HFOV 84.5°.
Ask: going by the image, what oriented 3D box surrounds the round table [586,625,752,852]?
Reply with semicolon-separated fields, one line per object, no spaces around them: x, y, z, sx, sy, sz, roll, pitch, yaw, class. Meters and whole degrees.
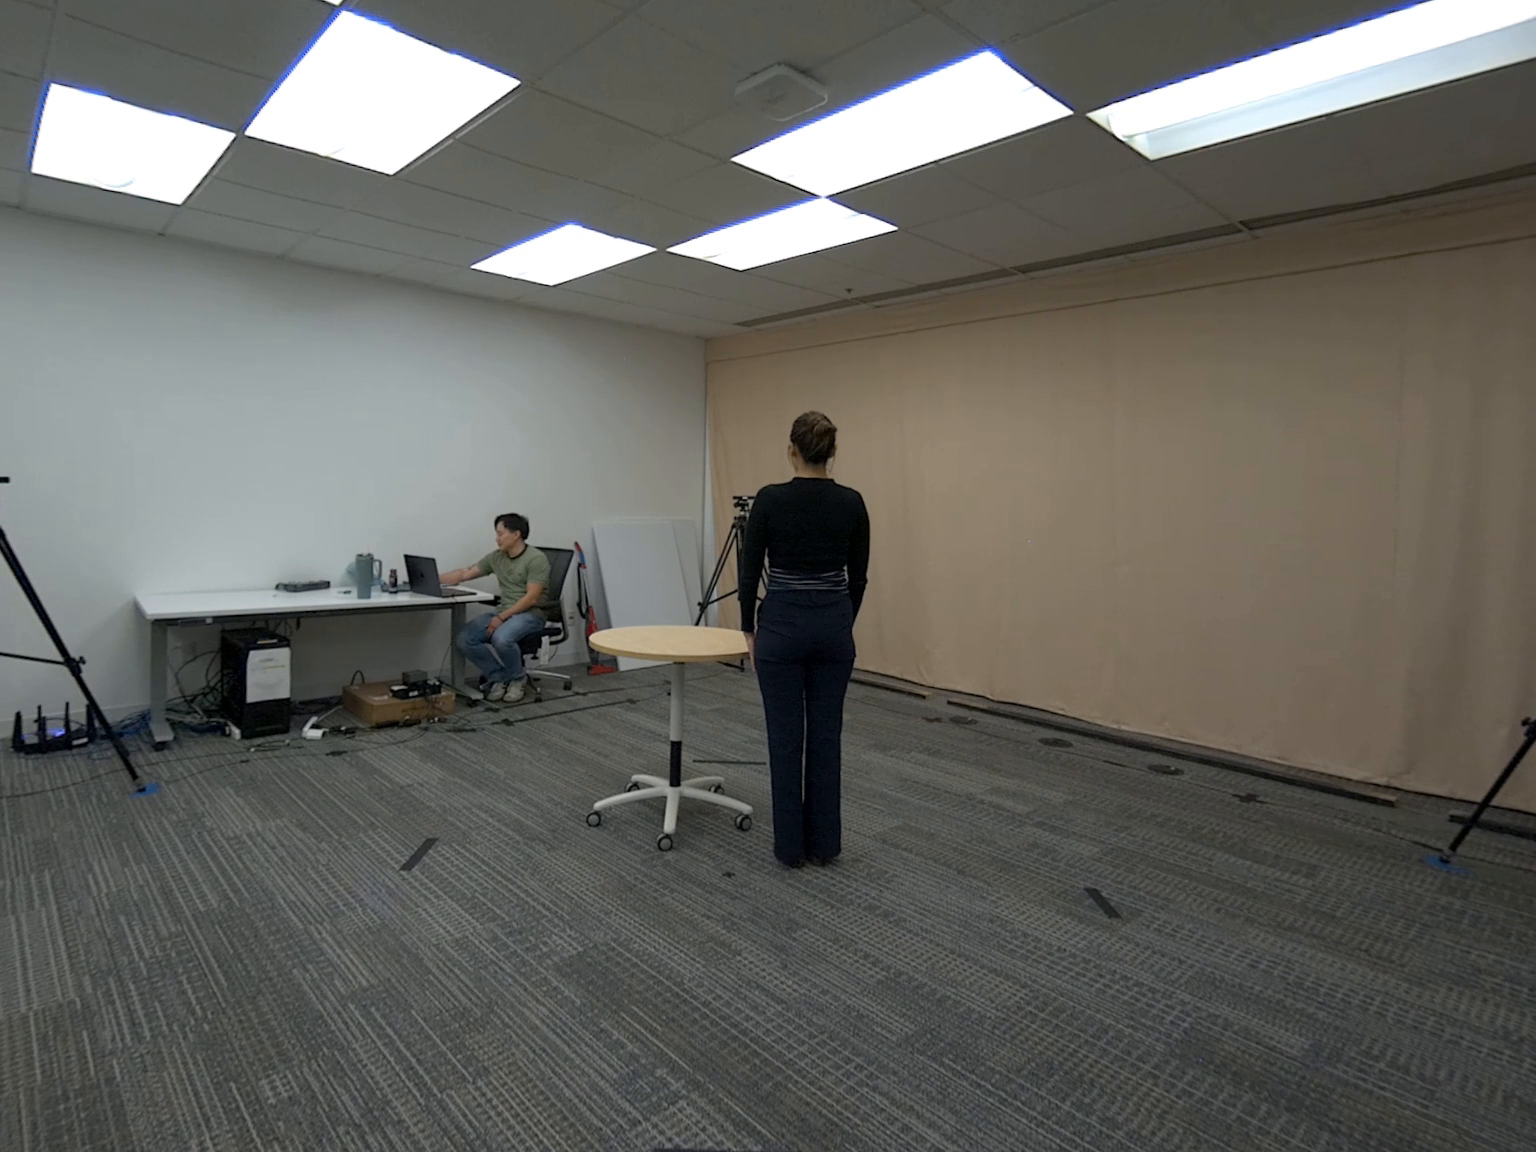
-0.408;0.663;3.631;0.763;0.792;0.766;2;3;-1;round table
